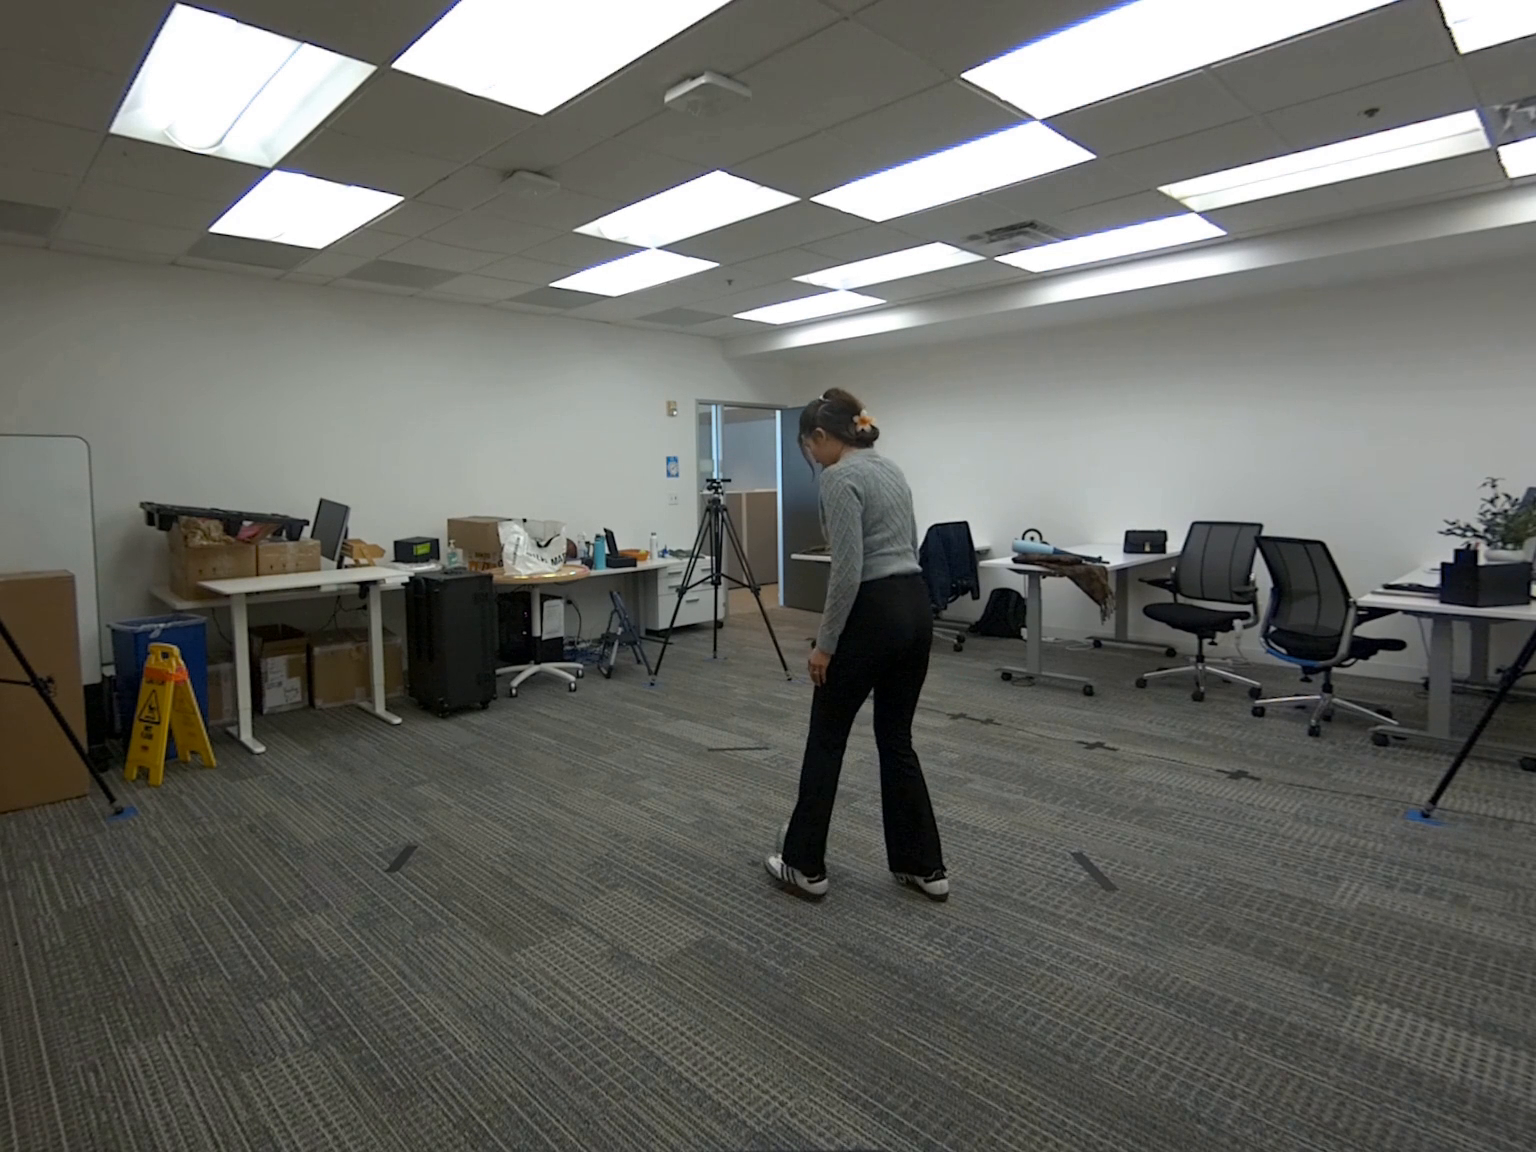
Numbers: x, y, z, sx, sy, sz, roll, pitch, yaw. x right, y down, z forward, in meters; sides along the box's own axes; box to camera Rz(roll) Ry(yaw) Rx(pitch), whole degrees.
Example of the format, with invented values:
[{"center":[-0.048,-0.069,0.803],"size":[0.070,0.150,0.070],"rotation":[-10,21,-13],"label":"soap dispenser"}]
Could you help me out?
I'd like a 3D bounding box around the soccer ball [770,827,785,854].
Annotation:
[{"center":[0.131,0.958,3.045],"size":[0.187,0.187,0.188],"rotation":[-1,5,-2],"label":"soccer ball"}]
